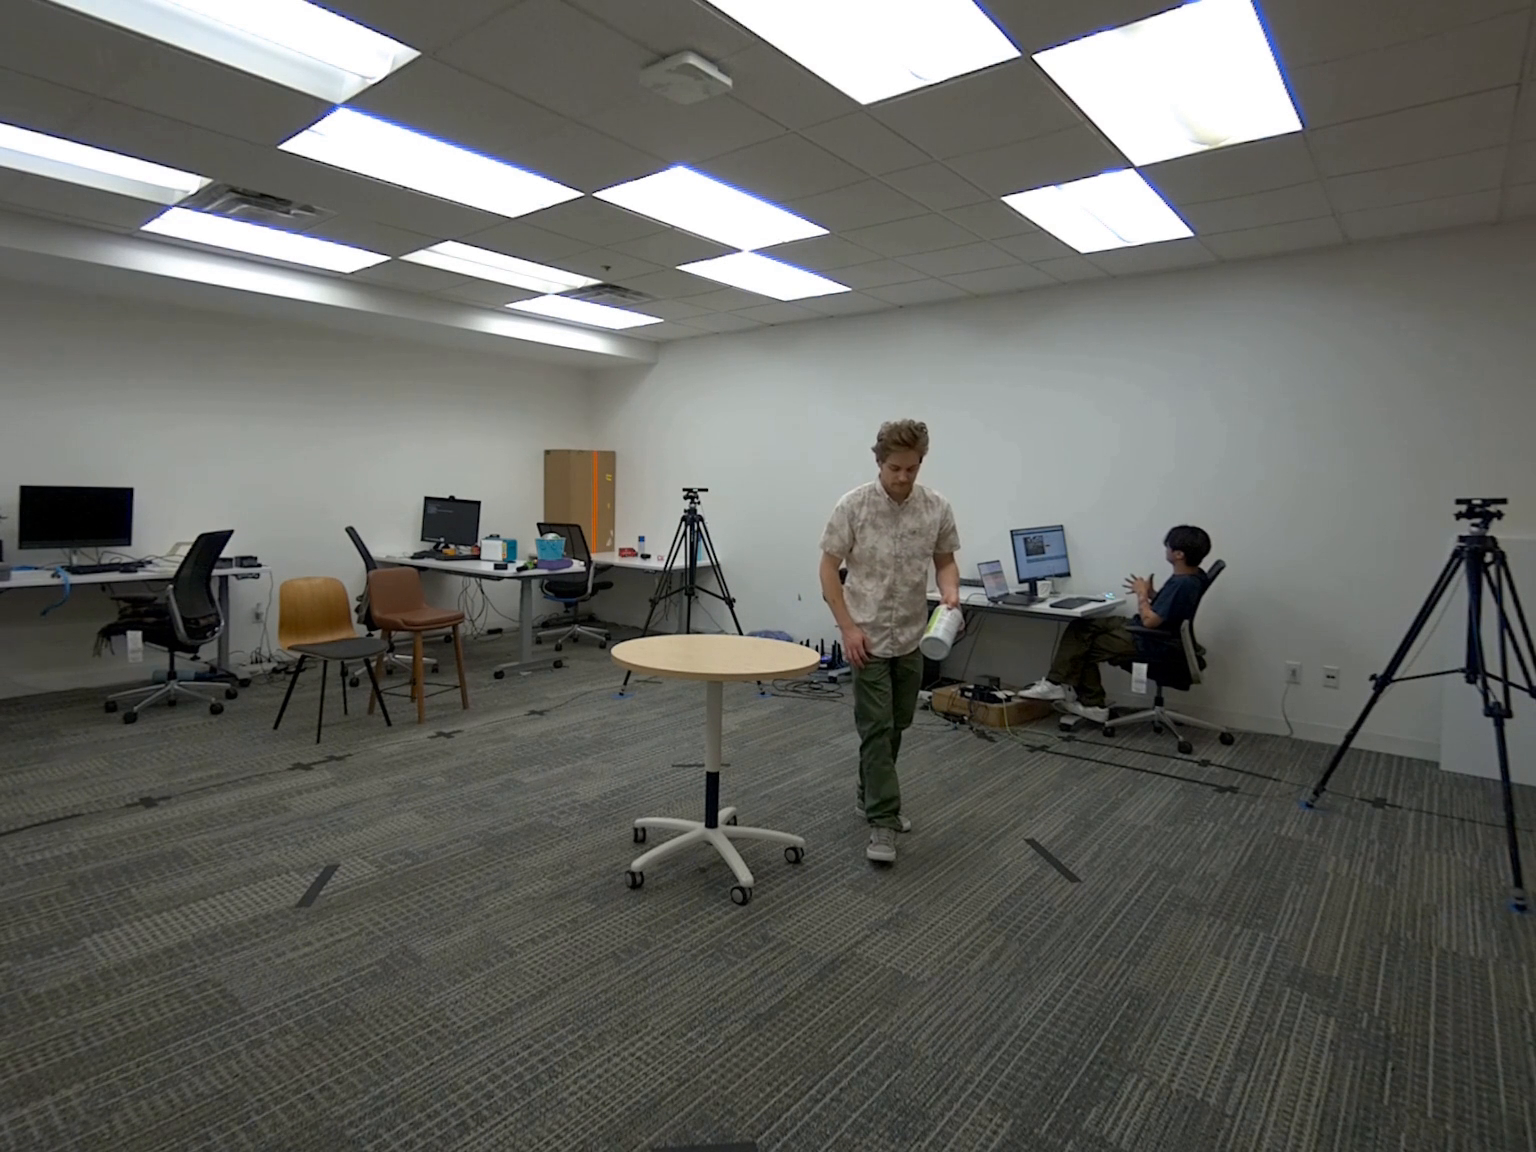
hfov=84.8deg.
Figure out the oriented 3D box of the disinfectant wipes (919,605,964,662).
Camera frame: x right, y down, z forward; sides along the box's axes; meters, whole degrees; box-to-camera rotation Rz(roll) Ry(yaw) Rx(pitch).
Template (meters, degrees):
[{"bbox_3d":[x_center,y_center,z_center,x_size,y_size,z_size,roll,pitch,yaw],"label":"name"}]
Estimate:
[{"bbox_3d":[0.634,0.203,3.152,0.121,0.114,0.218,3,34,27],"label":"disinfectant wipes"}]
